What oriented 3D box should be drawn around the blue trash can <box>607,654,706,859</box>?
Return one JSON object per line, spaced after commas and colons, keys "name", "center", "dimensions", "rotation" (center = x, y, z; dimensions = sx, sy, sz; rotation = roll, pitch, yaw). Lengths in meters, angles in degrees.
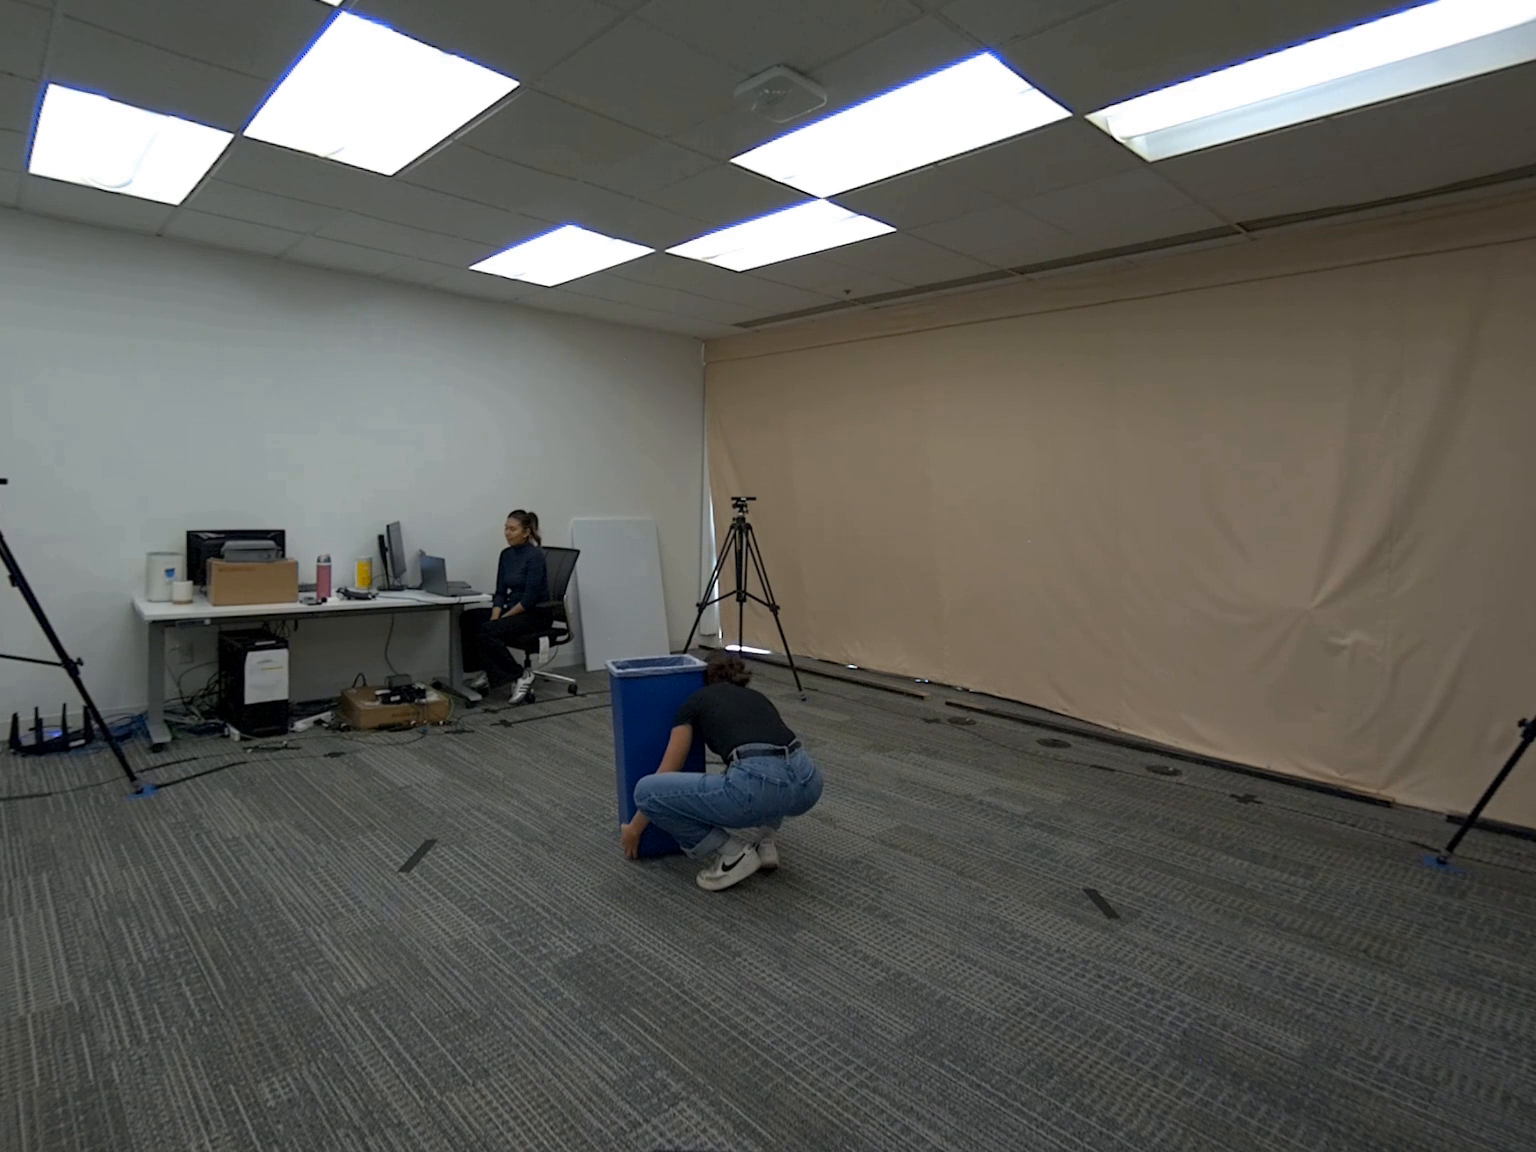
{"name": "blue trash can", "center": [-0.455, 0.701, 3.394], "dimensions": [0.369, 0.714, 0.382], "rotation": [-2, 0, -17]}
